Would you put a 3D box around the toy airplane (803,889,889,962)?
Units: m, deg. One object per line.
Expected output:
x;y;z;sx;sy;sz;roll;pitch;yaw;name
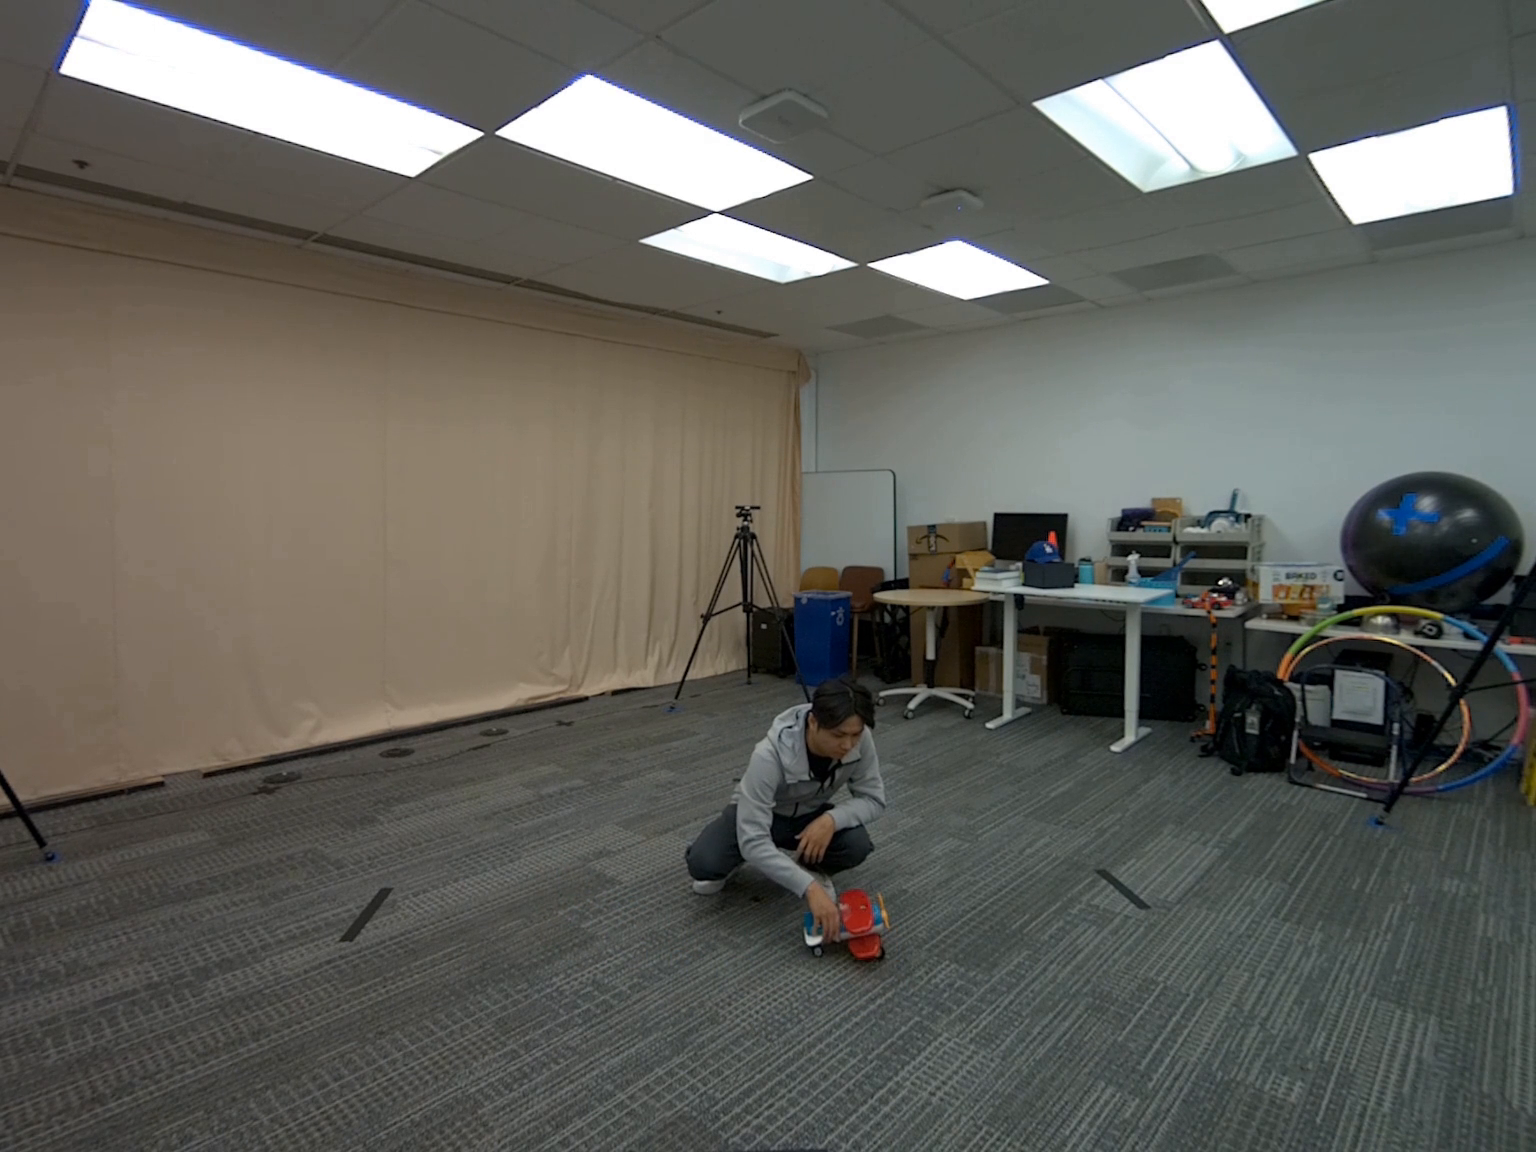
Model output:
0.249;1.098;2.599;0.253;0.156;0.258;-3;5;-27;toy airplane
